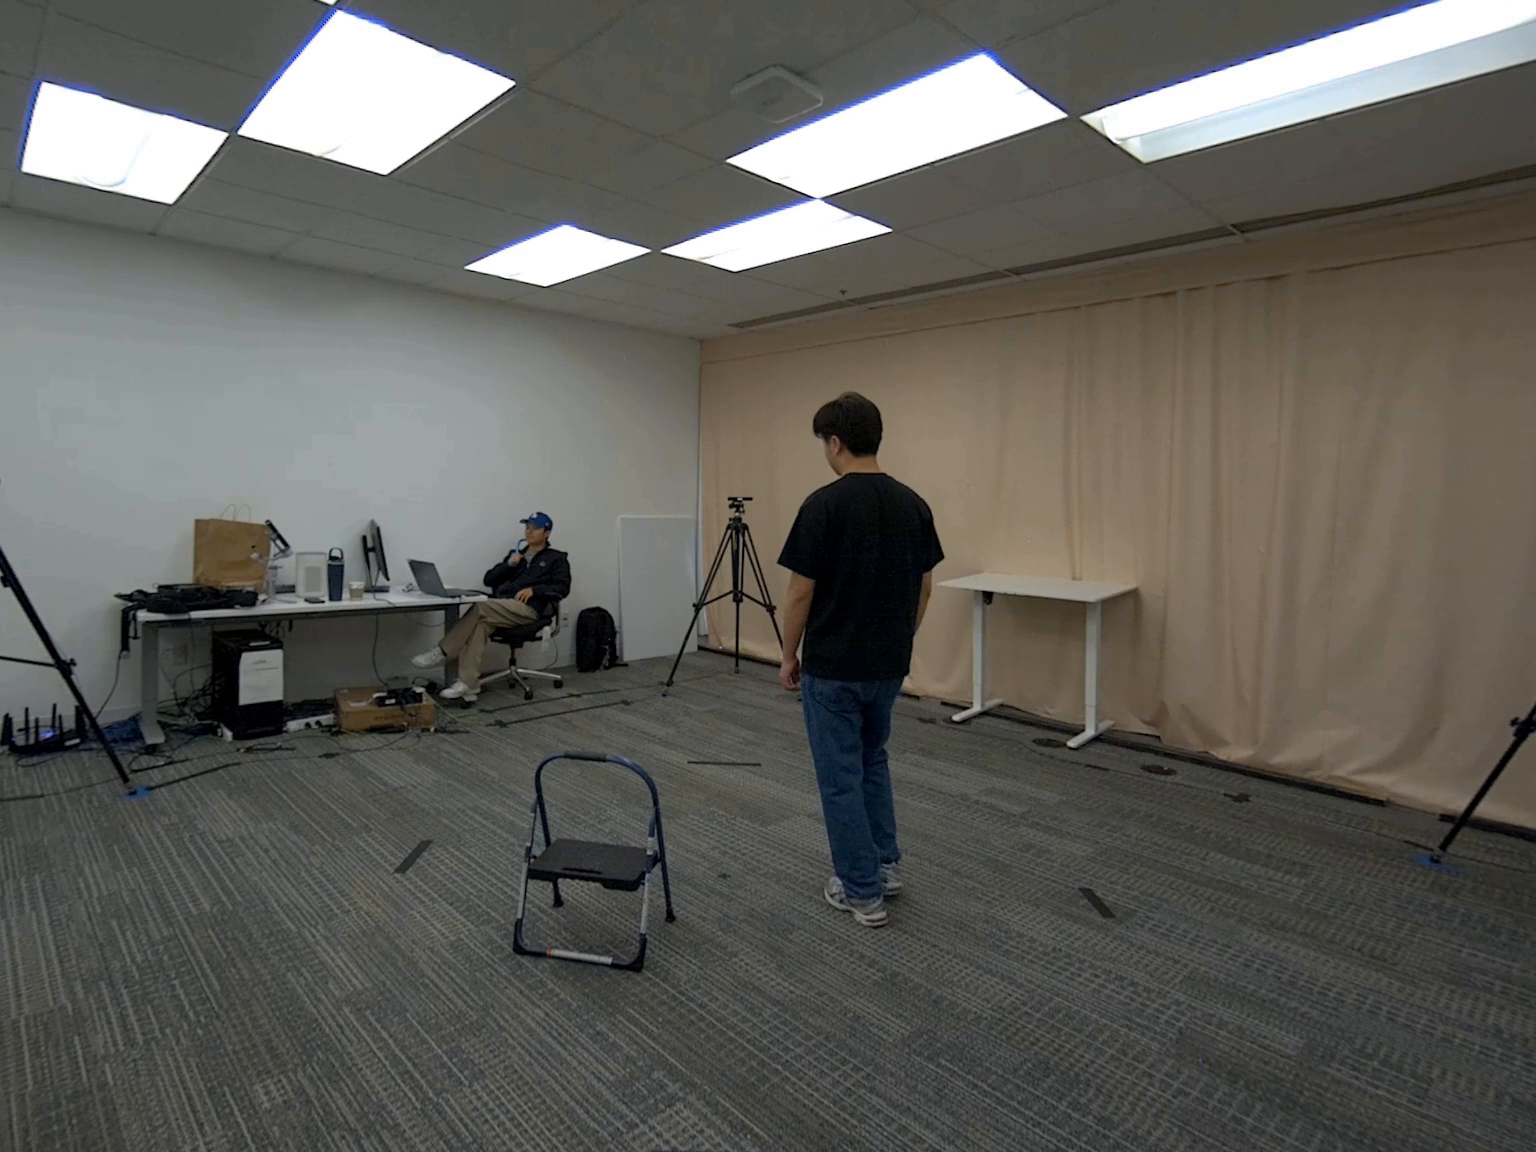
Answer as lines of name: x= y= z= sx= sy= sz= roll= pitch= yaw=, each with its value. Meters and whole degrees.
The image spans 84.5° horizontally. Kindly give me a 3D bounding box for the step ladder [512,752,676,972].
step ladder: x=-0.542 y=0.839 z=2.647 sx=0.434 sy=0.605 sz=0.347 roll=2 pitch=3 yaw=10
